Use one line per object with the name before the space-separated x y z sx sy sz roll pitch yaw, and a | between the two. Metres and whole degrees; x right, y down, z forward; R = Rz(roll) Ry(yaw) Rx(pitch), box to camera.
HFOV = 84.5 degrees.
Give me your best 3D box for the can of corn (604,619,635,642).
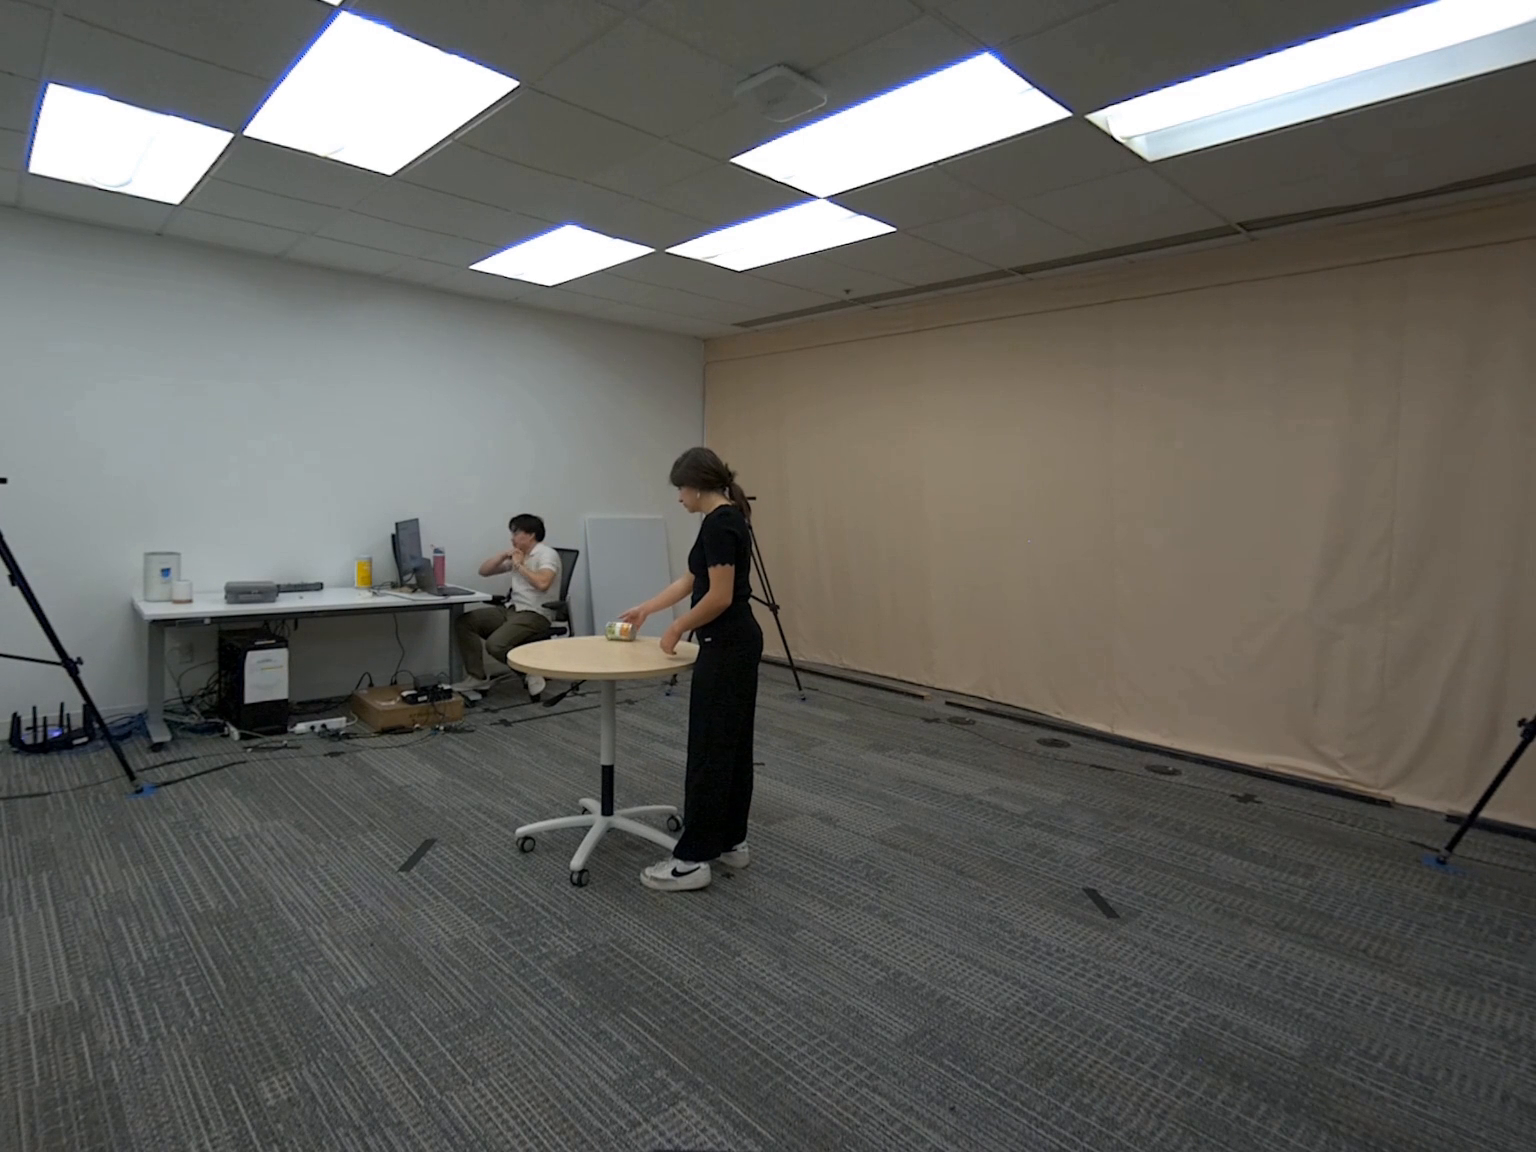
can of corn | -0.633 0.232 3.540 0.112 0.074 0.073 3 4 13
